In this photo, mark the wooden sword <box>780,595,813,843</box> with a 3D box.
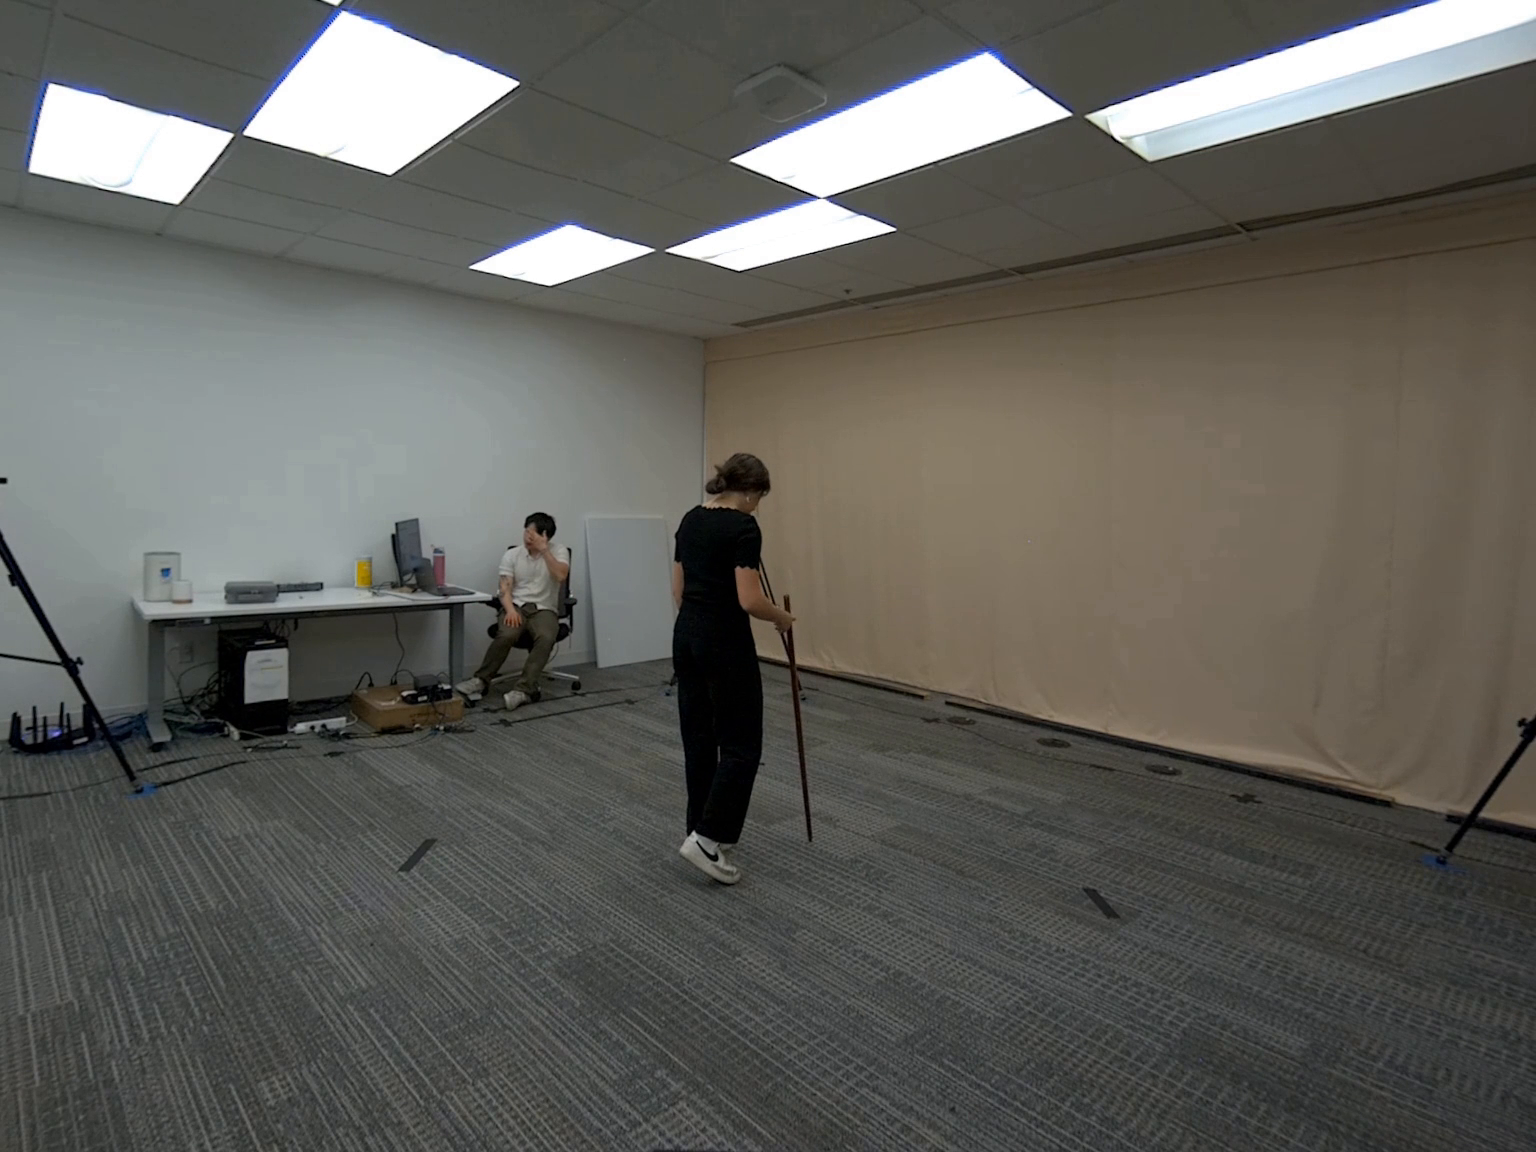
[{"bbox_3d":[0.107,0.600,3.355,0.023,1.017,0.052,-12,11,-35],"label":"wooden sword"}]
